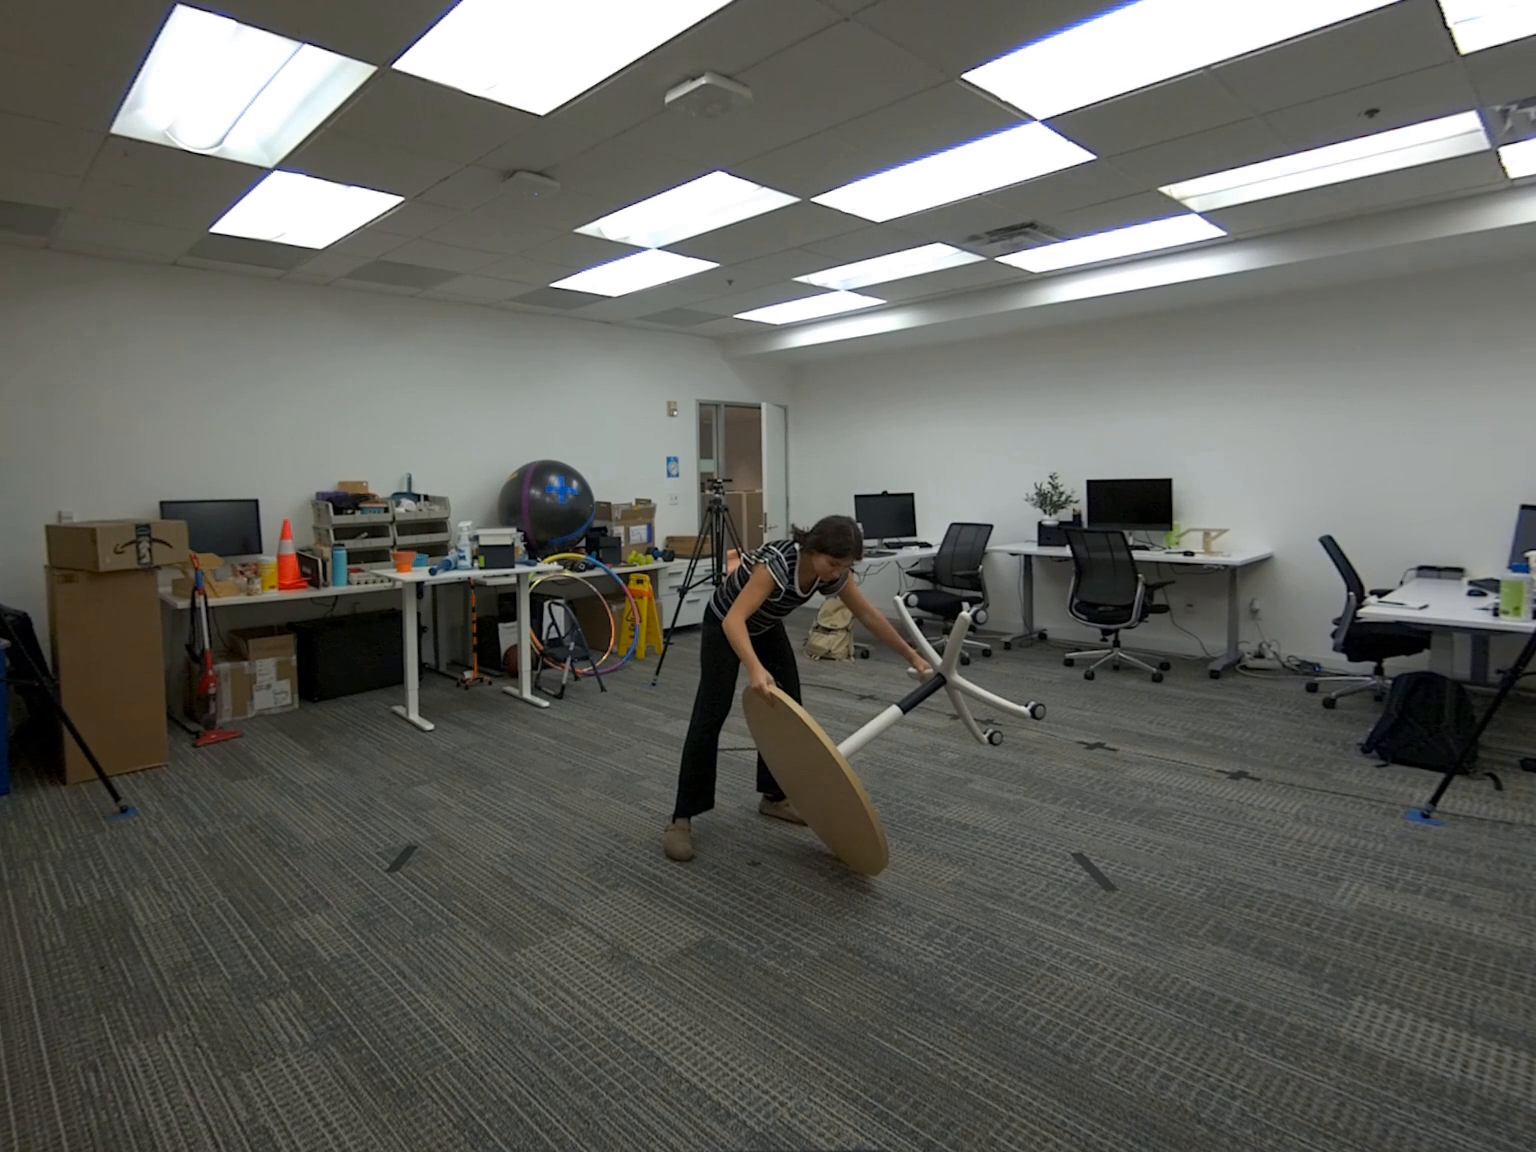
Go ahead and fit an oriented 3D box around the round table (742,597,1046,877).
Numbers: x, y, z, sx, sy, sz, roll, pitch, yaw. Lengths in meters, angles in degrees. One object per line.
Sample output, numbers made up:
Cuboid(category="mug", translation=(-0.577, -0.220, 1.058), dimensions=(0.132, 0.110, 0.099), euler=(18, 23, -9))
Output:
Cuboid(category="round table", translation=(0.452, 0.520, 3.133), dimensions=(0.788, 0.750, 0.783), euler=(-31, 17, -21))
